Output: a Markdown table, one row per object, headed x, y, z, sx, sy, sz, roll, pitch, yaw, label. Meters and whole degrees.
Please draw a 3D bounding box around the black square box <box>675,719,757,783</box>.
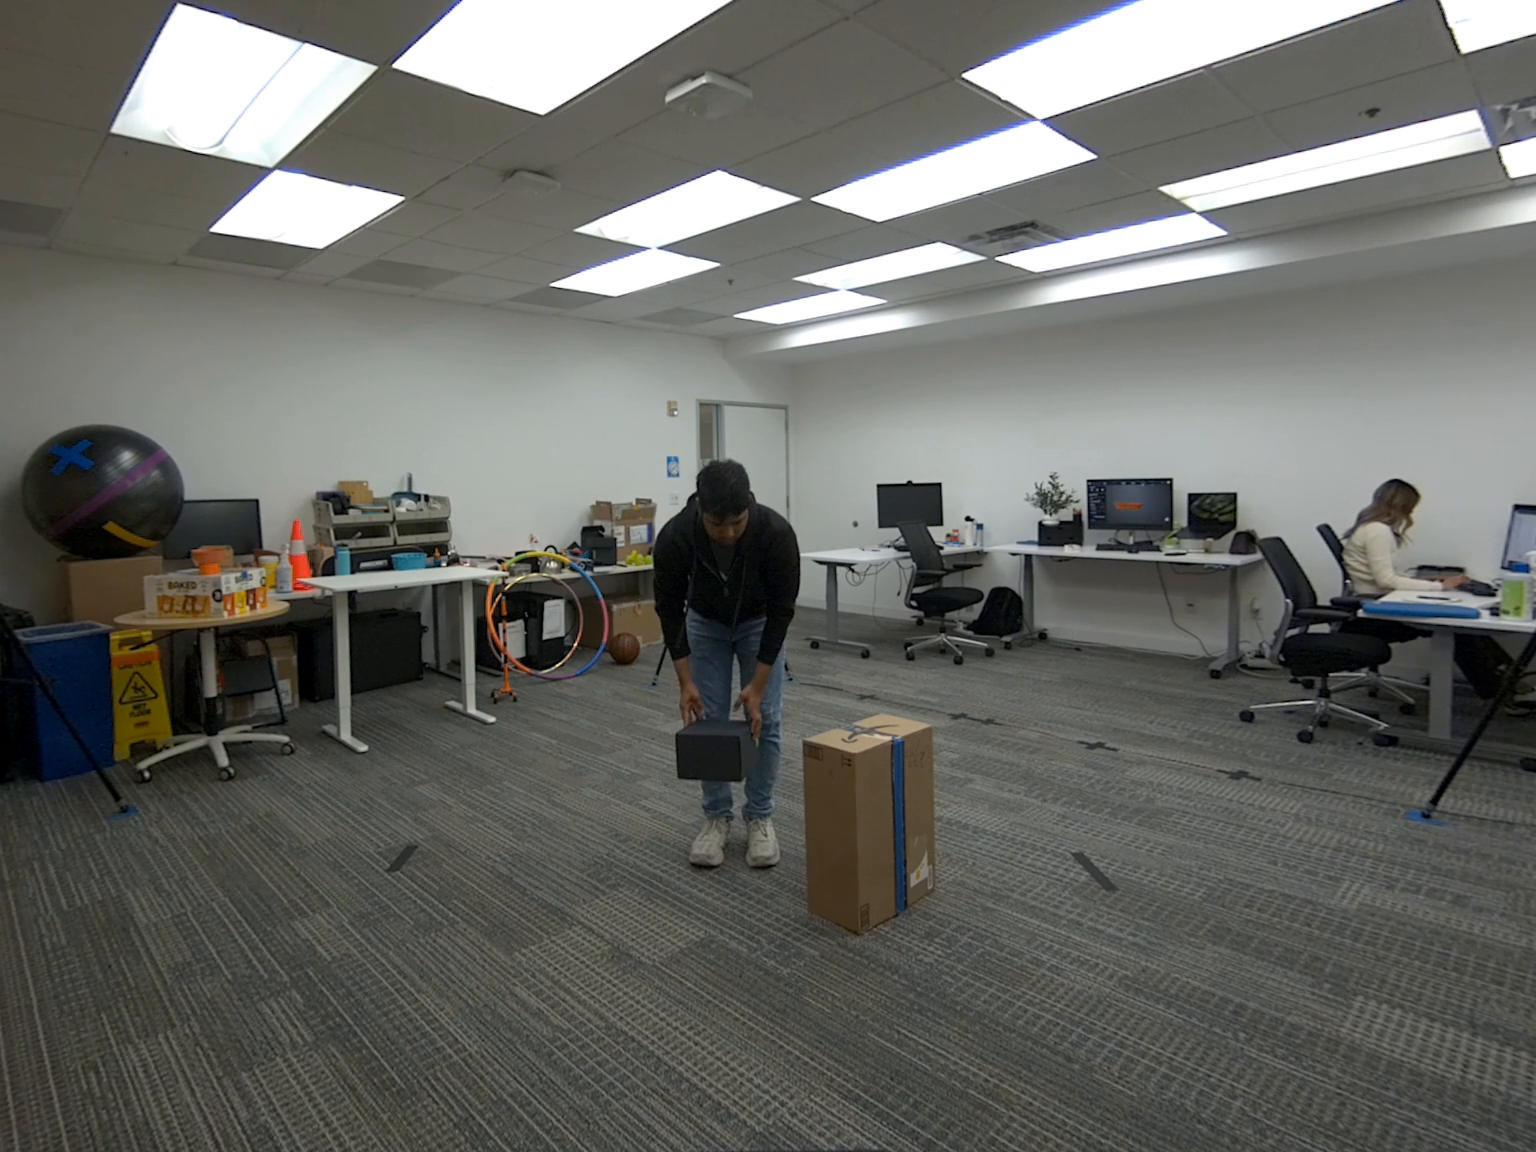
| x | y | z | sx | sy | sz | roll | pitch | yaw | label |
| --- | --- | --- | --- | --- | --- | --- | --- | --- | --- |
| -0.167 | 0.599 | 2.931 | 0.232 | 0.156 | 0.214 | -2 | 2 | 17 | black square box |
